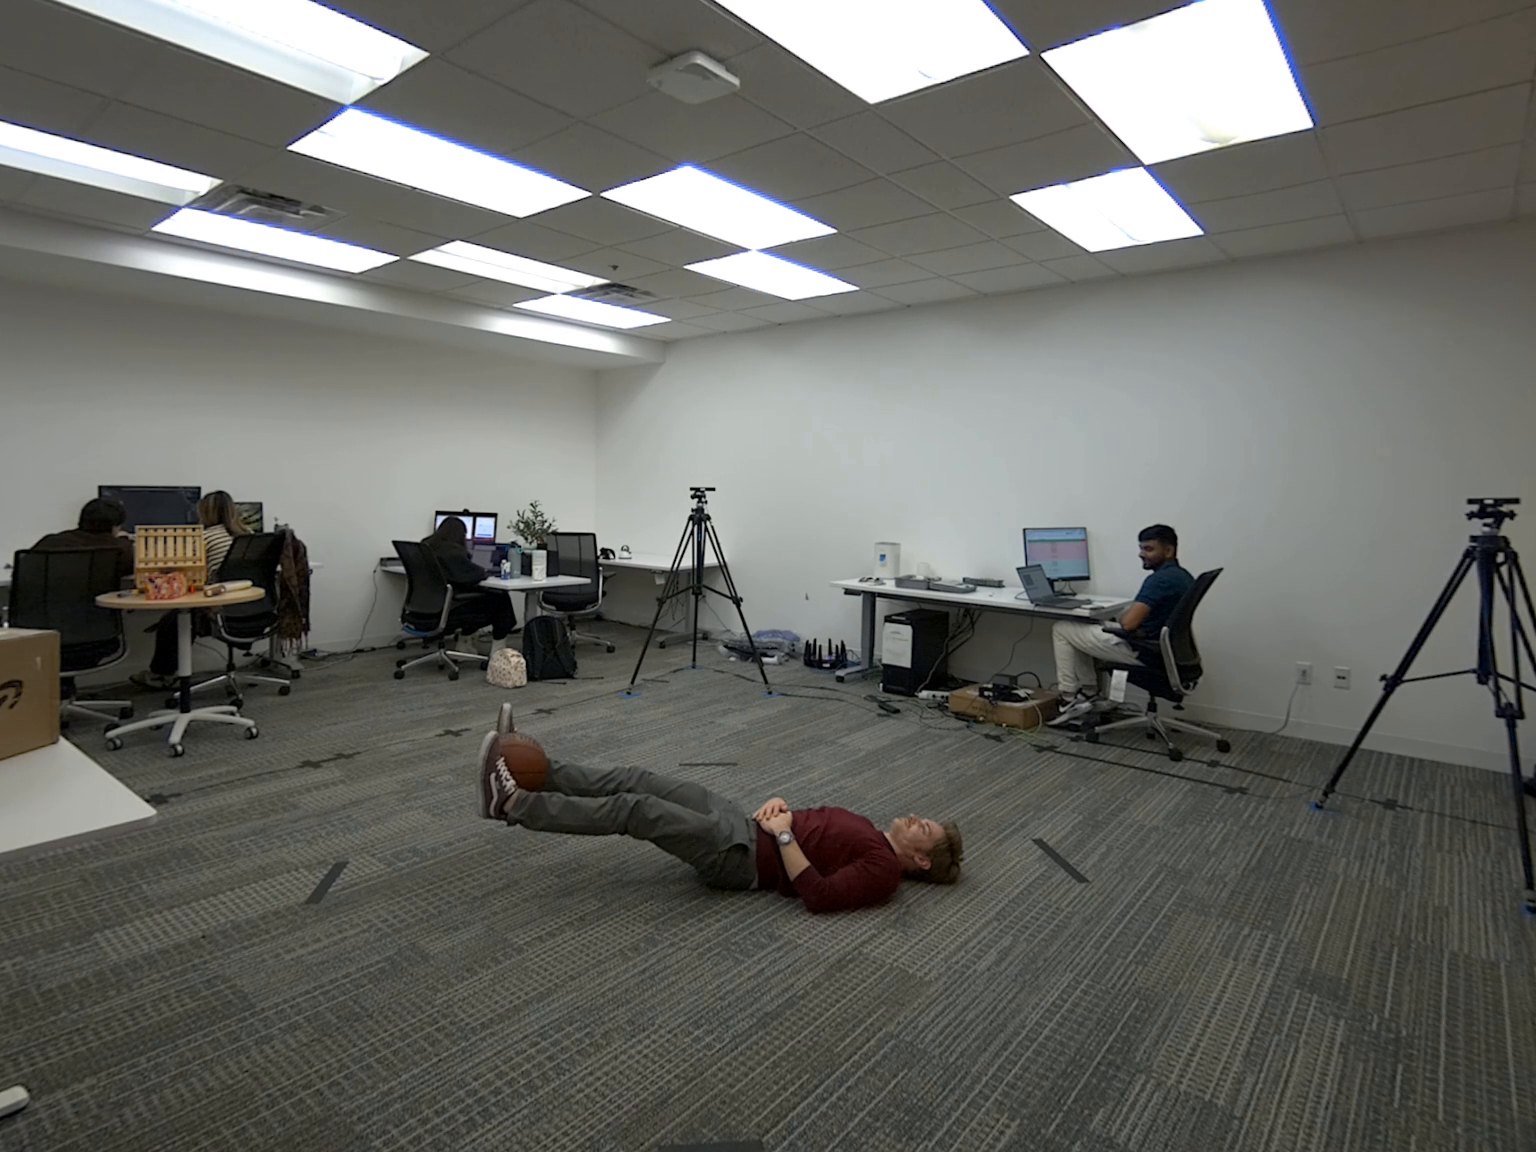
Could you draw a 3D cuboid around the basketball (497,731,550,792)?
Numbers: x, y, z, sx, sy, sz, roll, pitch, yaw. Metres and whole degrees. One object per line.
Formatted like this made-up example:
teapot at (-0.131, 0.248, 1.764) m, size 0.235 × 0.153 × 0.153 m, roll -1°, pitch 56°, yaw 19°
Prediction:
basketball at (-0.909, 0.669, 3.009) m, size 0.236 × 0.235 × 0.237 m, roll -3°, pitch 3°, yaw -2°
